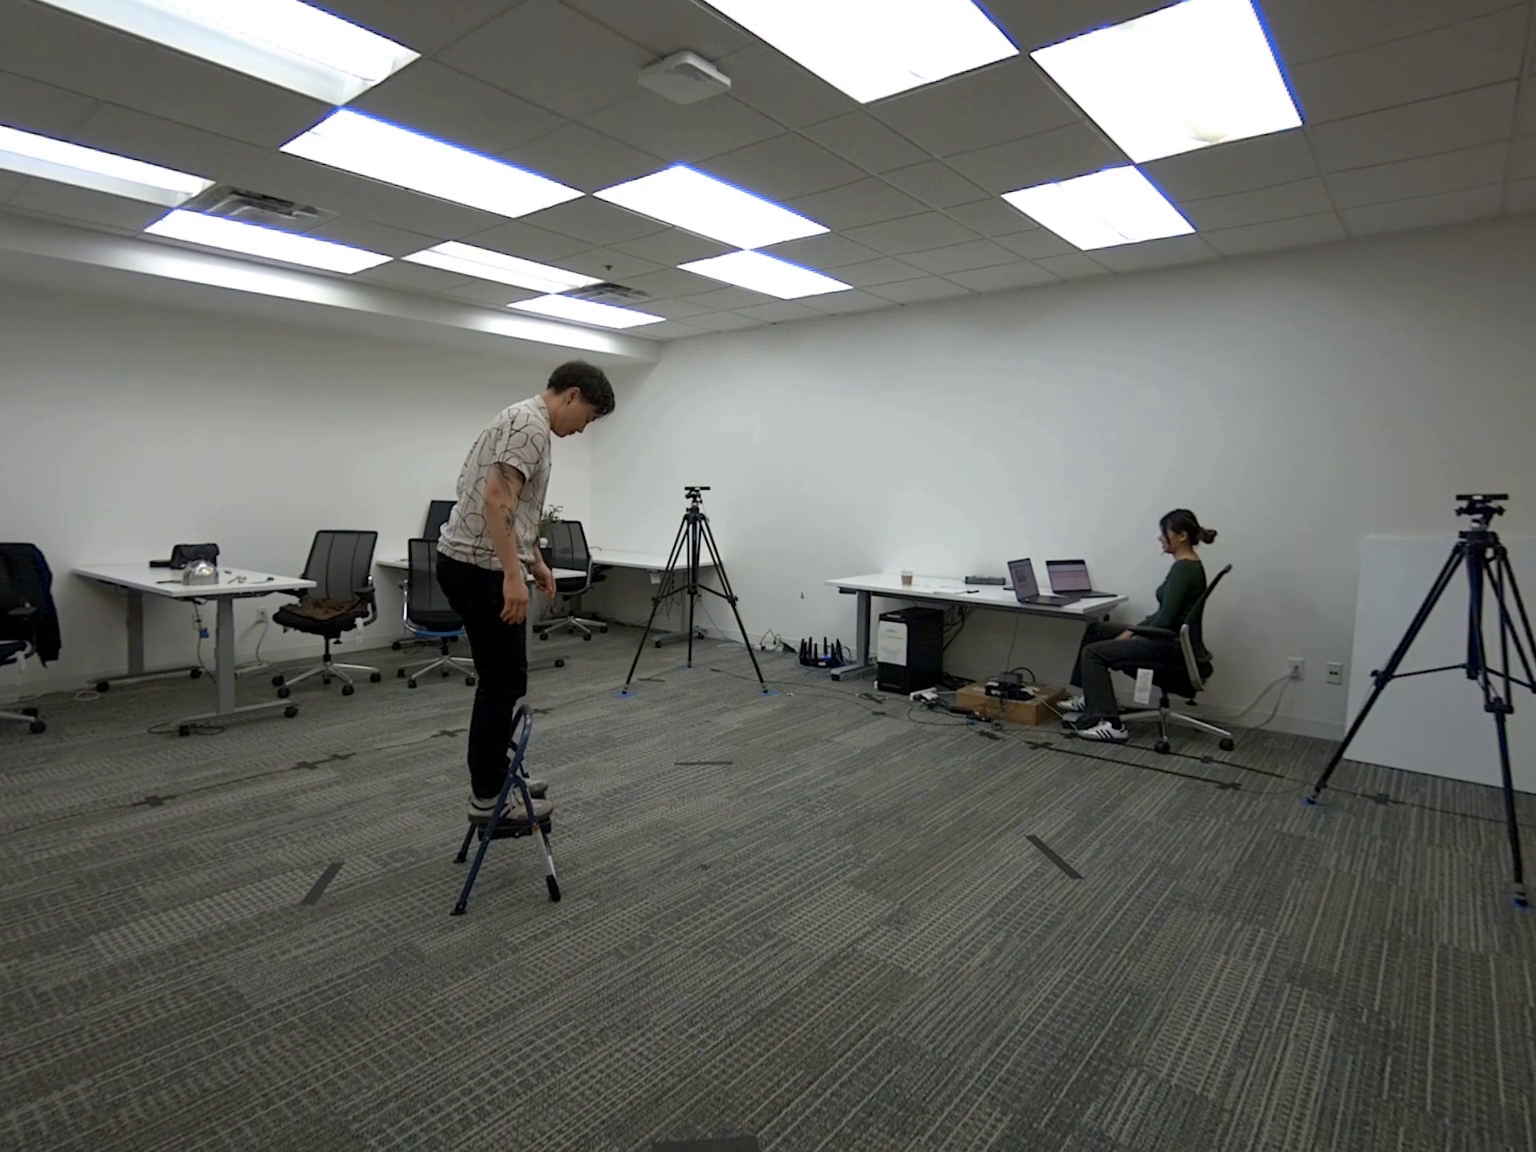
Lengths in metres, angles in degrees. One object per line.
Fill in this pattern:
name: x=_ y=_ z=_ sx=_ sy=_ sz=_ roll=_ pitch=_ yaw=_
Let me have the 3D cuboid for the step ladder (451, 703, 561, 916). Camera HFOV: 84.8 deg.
step ladder: x=-0.930 y=0.771 z=2.976 sx=0.343 sy=0.604 sz=0.440 roll=0 pitch=3 yaw=-18
